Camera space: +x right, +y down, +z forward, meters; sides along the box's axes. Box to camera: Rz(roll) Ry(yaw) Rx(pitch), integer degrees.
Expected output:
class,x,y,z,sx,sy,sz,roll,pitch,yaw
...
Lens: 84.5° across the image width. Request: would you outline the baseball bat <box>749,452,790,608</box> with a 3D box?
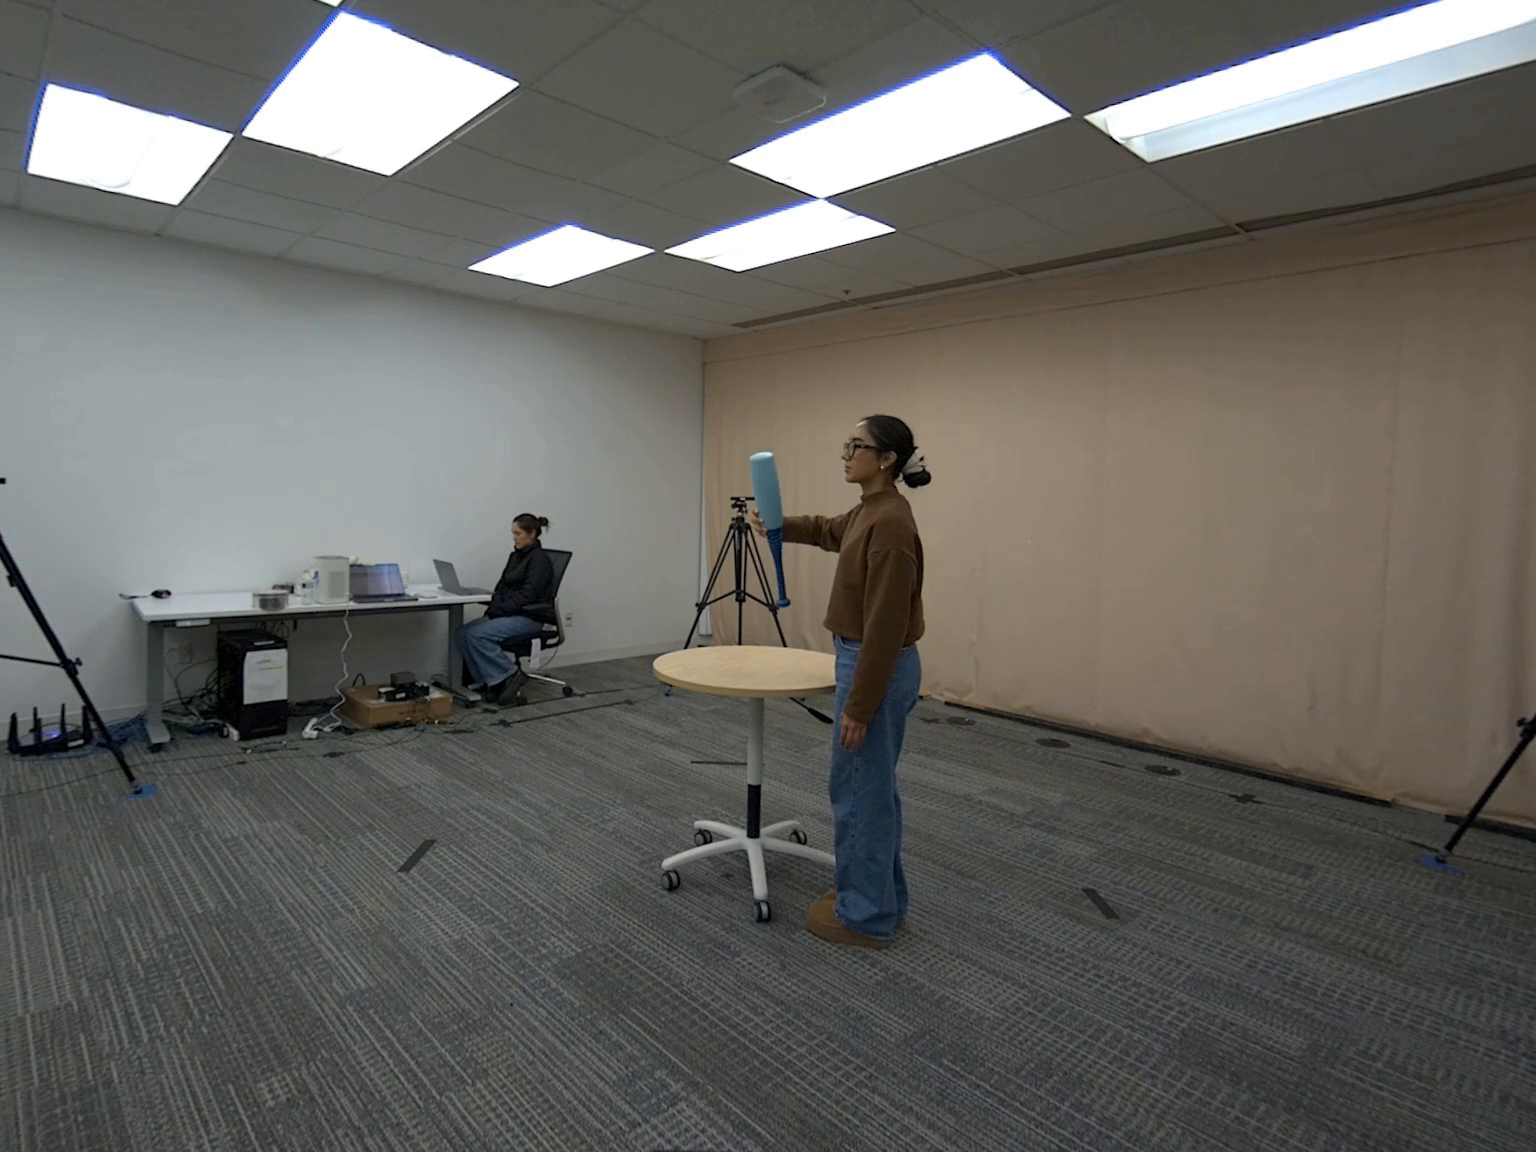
class,x,y,z,sx,sy,sz,roll,pitch,yaw
baseball bat,0.019,-0.145,2.825,0.089,0.535,0.090,-9,18,2
